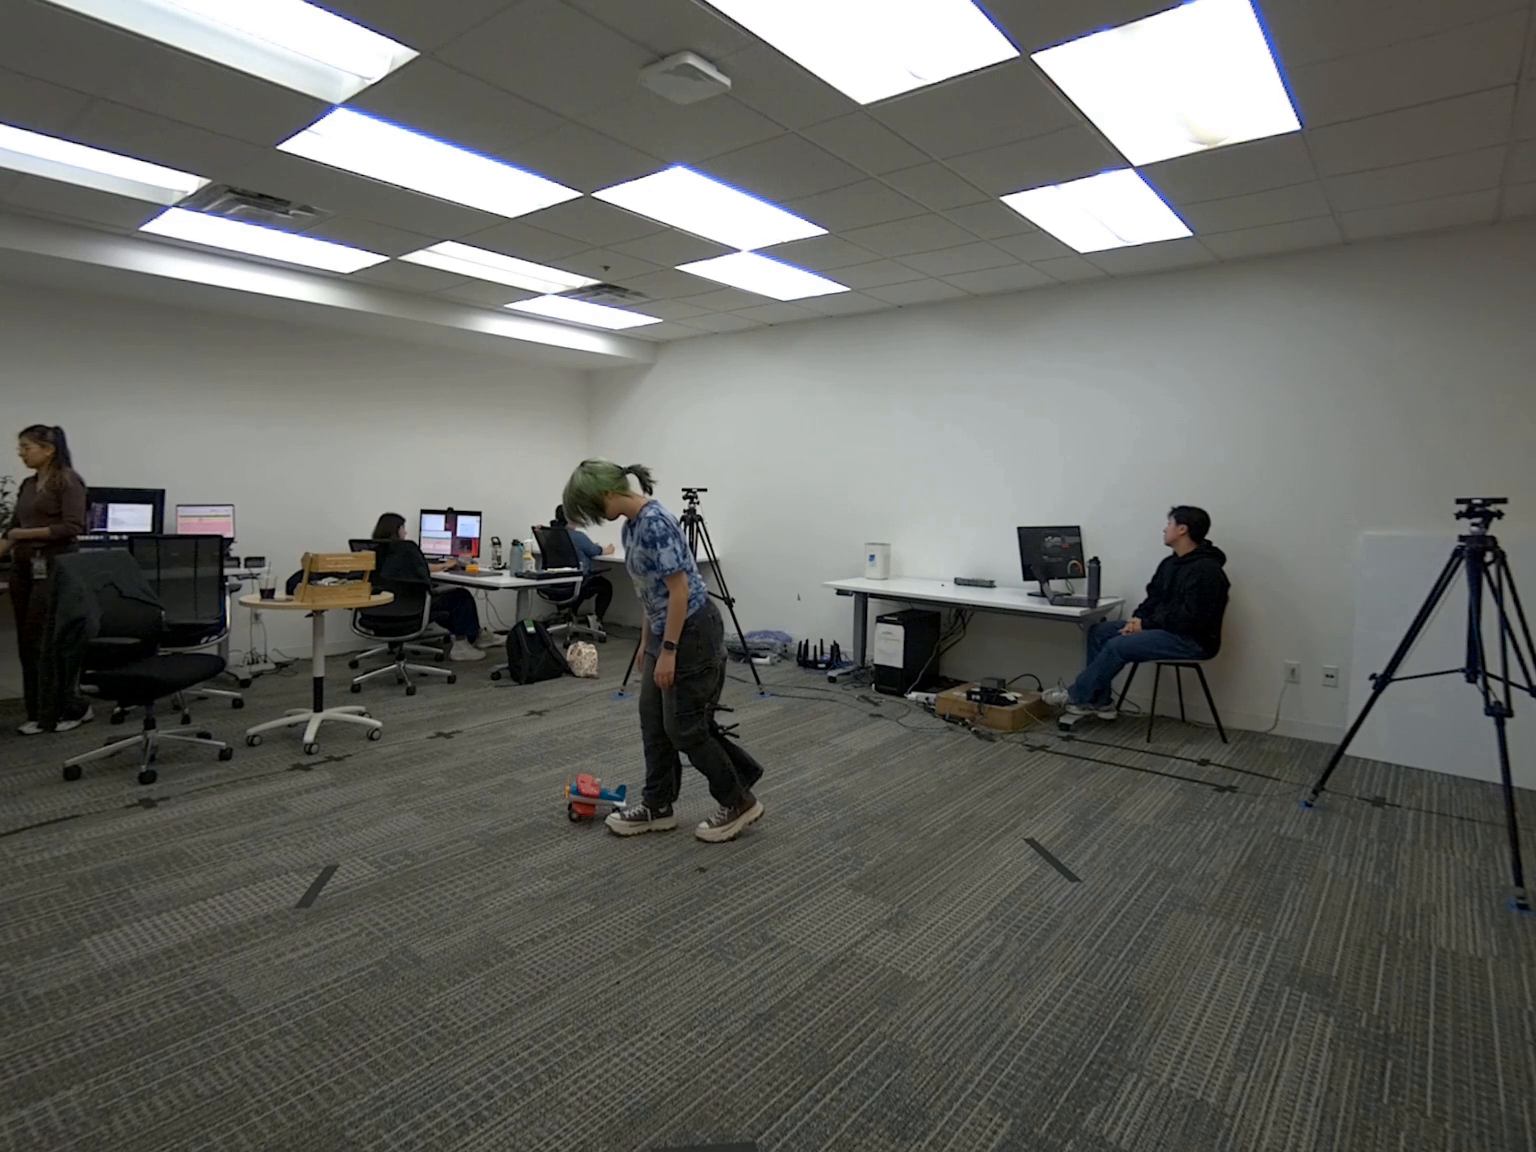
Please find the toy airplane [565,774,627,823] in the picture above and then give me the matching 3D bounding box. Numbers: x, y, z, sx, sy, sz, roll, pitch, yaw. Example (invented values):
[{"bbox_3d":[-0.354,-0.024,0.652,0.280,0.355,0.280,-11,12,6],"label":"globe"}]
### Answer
[{"bbox_3d":[-0.752,0.944,3.624,0.251,0.156,0.259,-4,6,-40],"label":"toy airplane"}]
